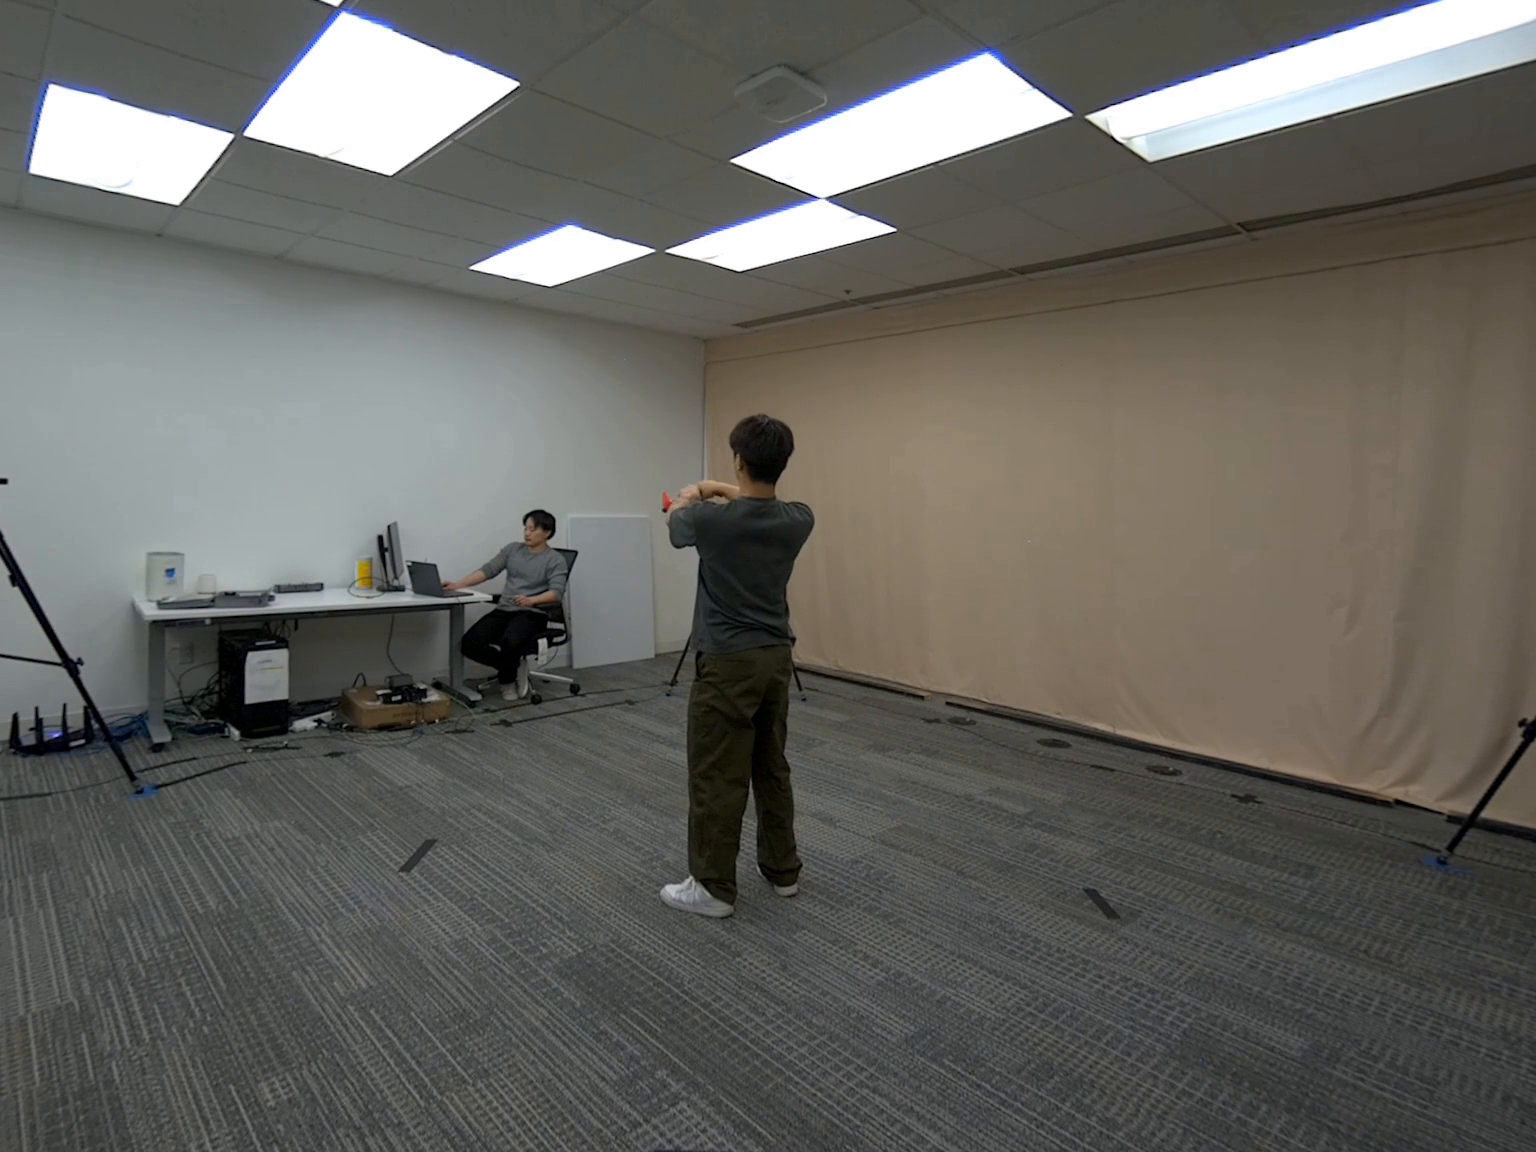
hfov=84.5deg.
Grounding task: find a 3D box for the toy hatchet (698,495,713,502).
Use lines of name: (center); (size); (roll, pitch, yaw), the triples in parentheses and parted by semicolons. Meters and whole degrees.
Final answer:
toy hatchet: (-0.280, -0.275, 3.303); (0.266, 0.130, 0.030); (-9, 7, -25)
